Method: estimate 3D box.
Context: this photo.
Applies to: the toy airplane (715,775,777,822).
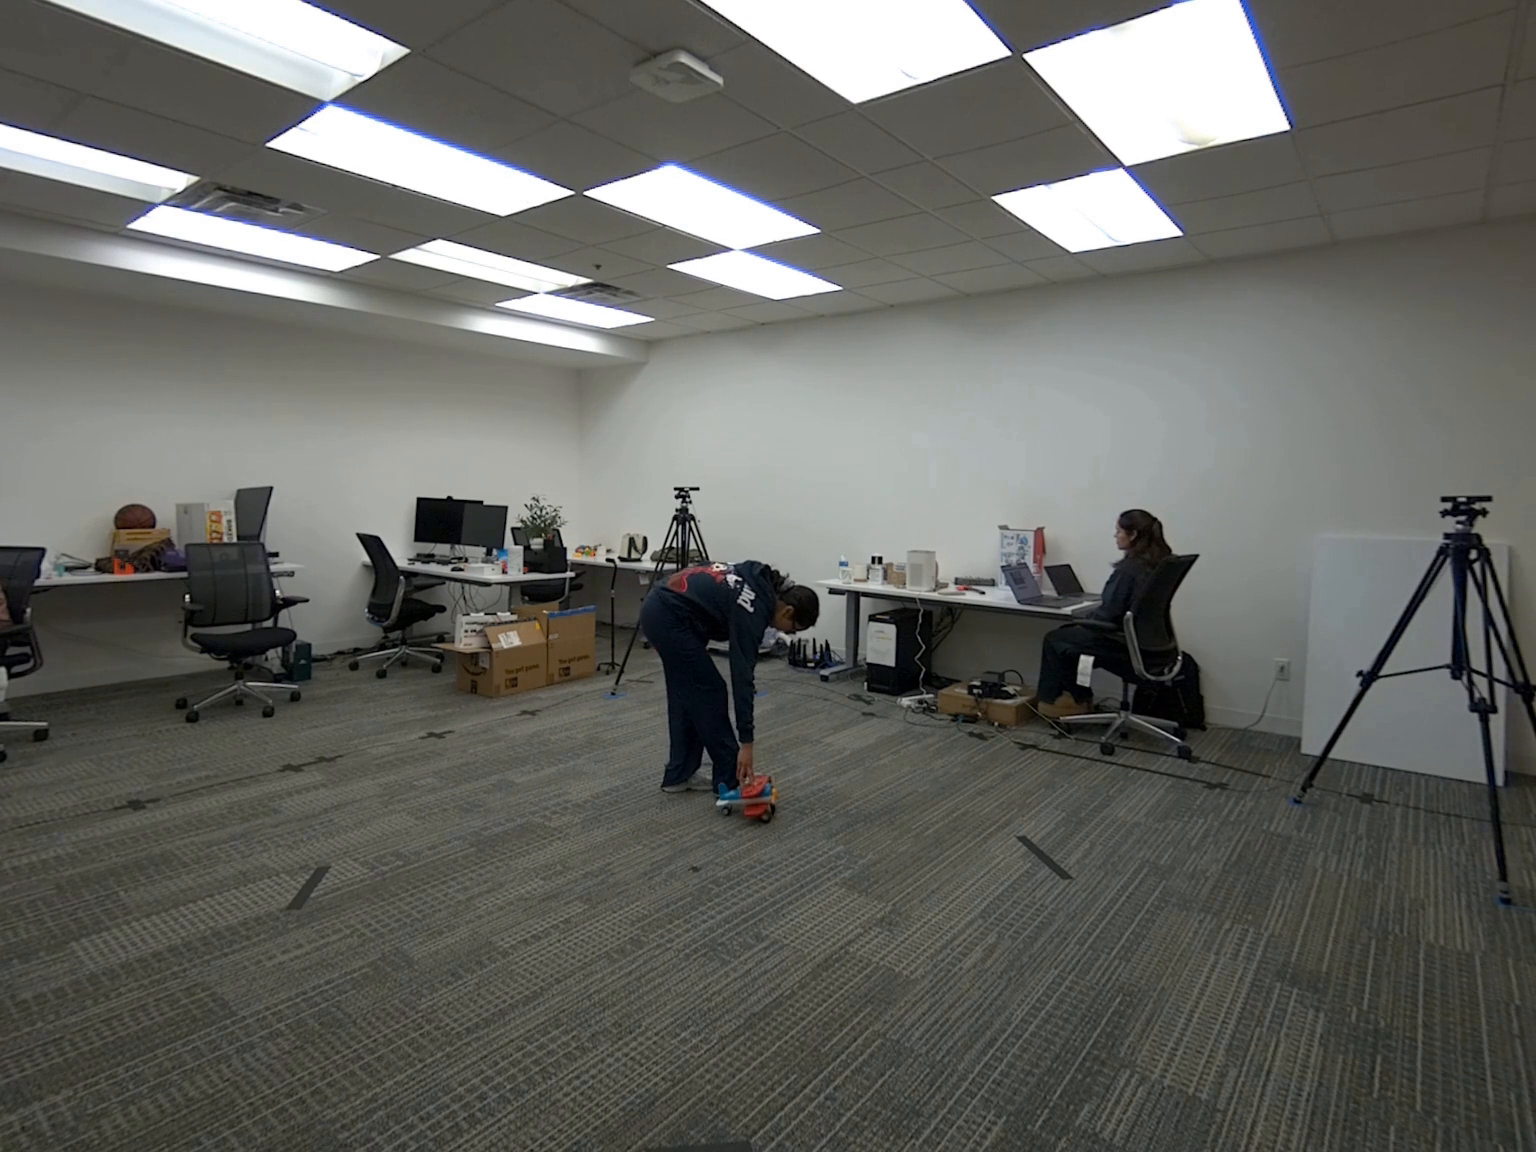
[{"bbox_3d":[-0.094,0.949,3.593,0.255,0.156,0.256,0,5,-16],"label":"toy airplane"}]
